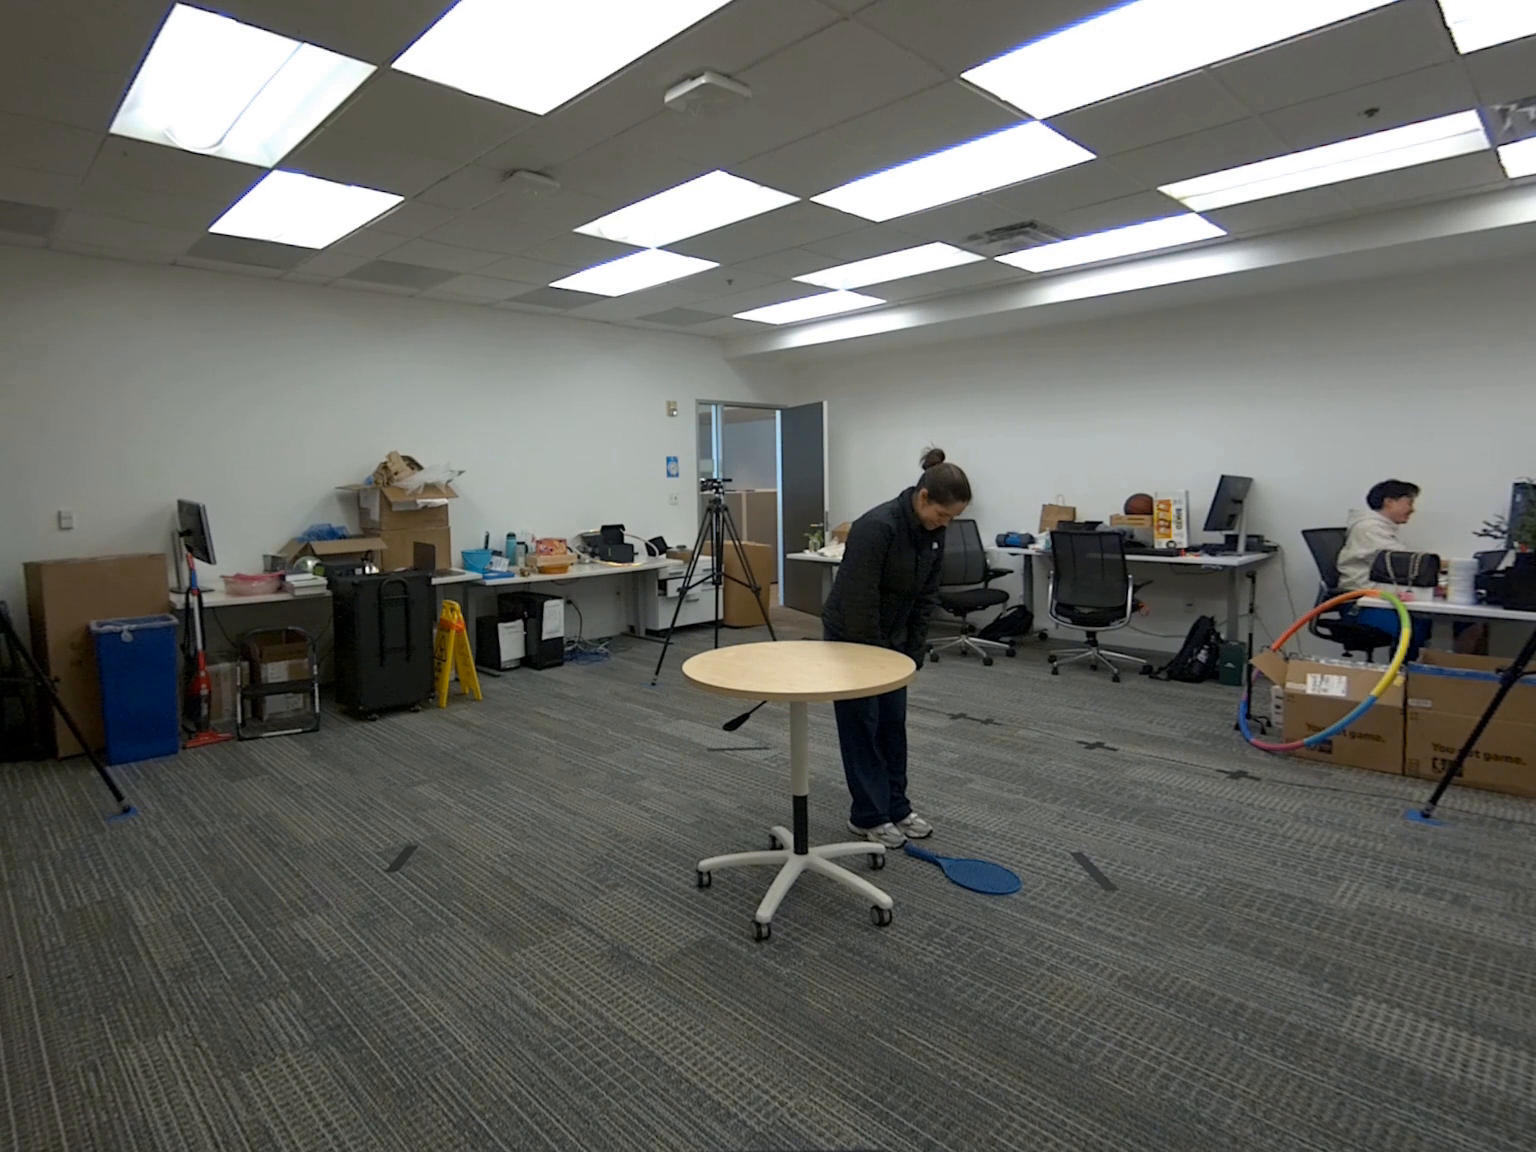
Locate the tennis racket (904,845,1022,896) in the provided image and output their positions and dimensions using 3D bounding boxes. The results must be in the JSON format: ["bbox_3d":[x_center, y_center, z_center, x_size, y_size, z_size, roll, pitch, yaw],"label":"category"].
[{"bbox_3d":[0.675,1.025,3.035,0.447,0.031,0.208,7,10,44],"label":"tennis racket"}]
